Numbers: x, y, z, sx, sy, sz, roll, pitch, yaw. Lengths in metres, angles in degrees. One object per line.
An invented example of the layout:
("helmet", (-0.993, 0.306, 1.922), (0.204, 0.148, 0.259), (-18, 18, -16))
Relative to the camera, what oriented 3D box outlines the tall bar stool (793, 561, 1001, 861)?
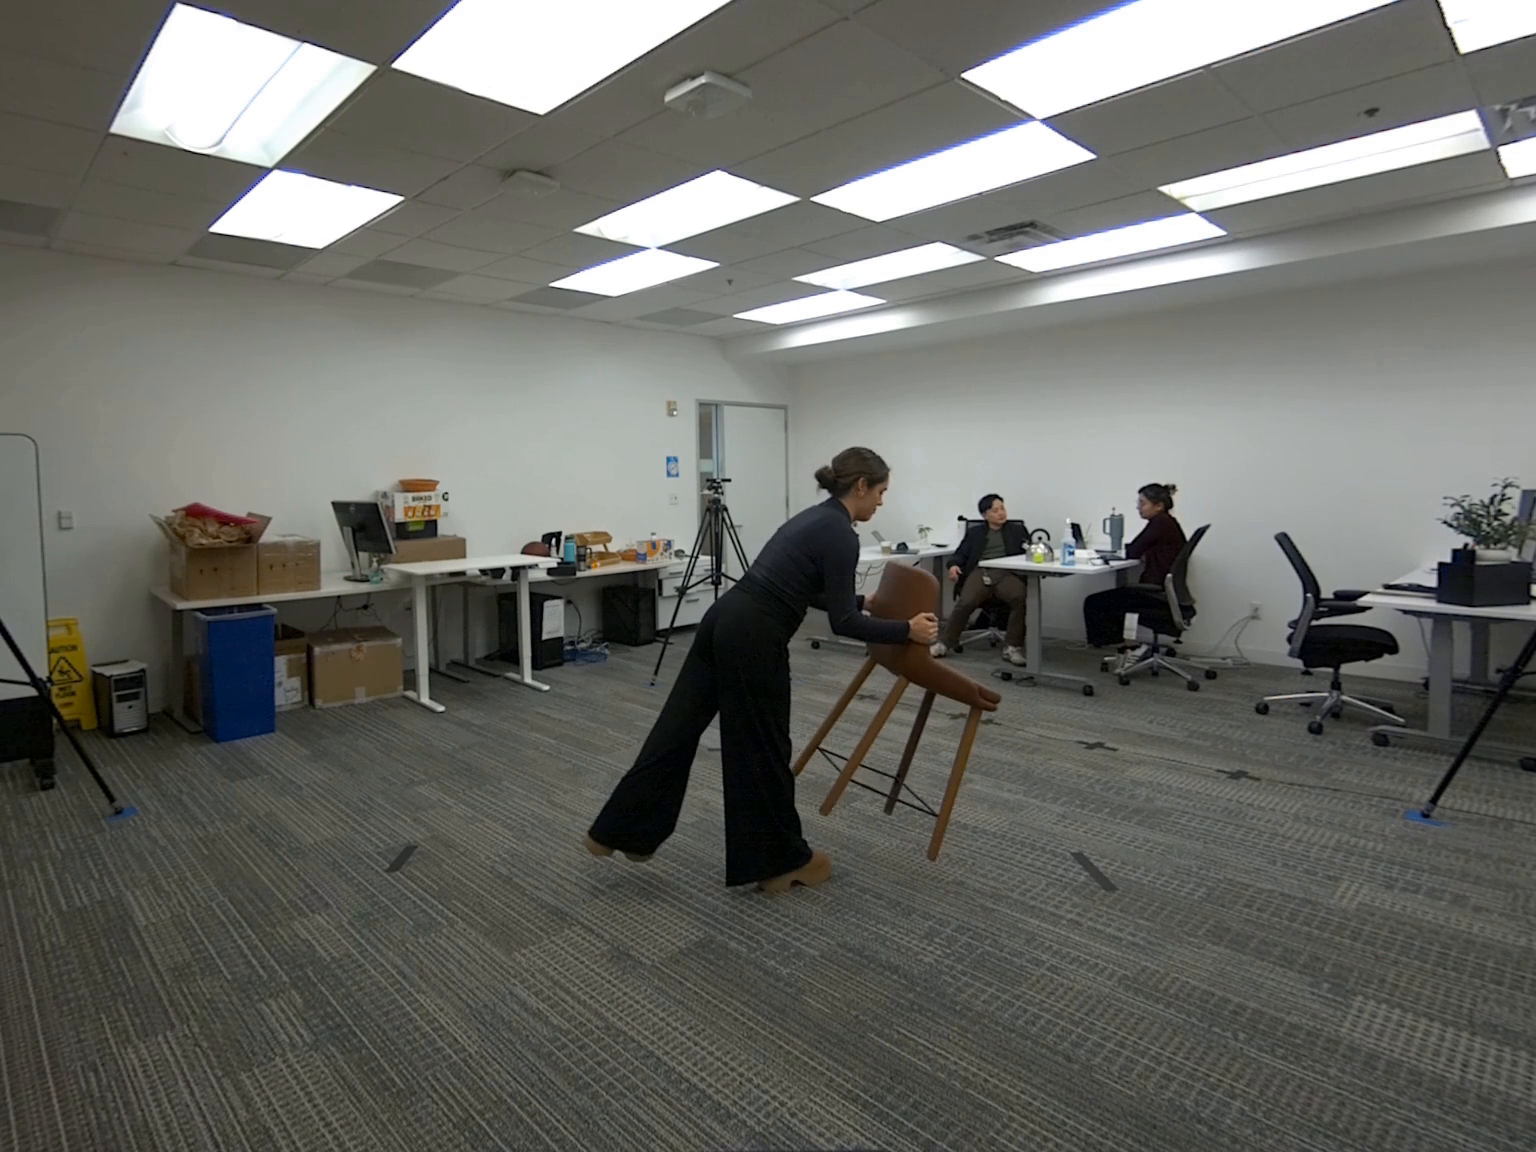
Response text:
("tall bar stool", (0.492, 0.447, 3.024), (0.459, 0.890, 0.465), (23, 0, -15))
